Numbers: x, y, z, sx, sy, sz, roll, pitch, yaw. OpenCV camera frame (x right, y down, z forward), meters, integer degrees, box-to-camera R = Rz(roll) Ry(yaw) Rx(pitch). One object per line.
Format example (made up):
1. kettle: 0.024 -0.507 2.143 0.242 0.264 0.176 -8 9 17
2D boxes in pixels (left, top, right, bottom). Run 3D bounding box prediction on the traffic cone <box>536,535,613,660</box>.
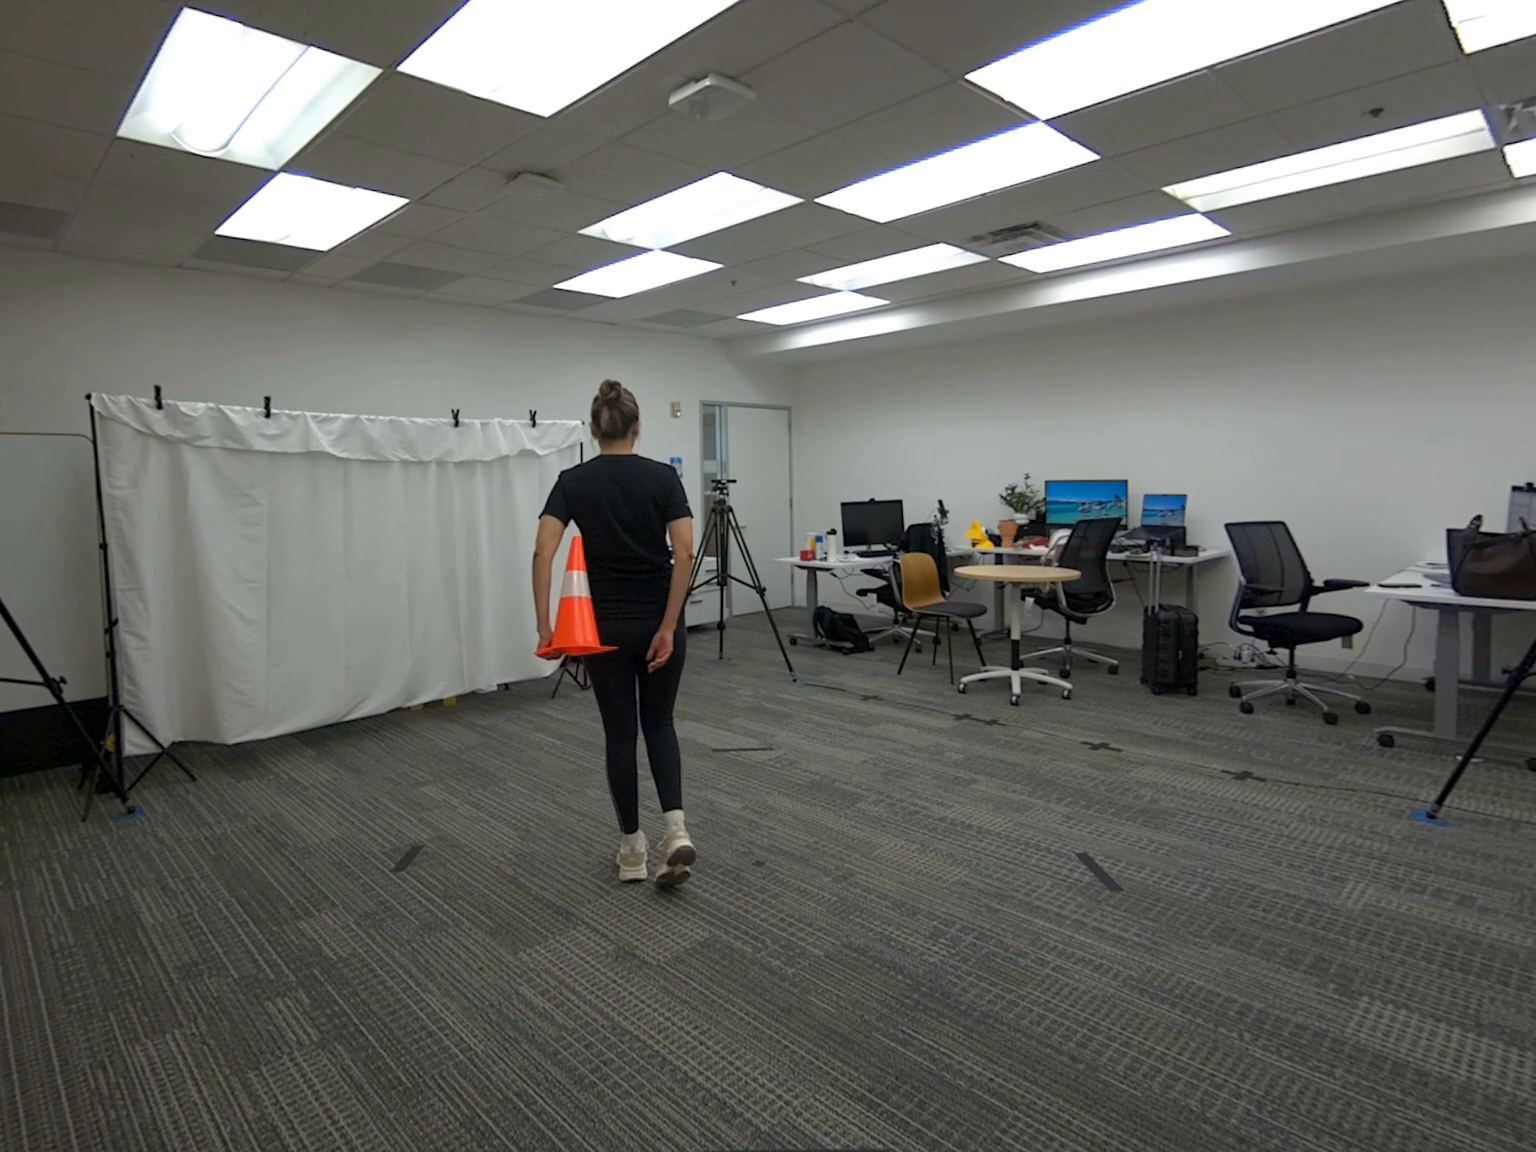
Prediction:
1. traffic cone: -0.635 0.055 2.809 0.210 0.388 0.196 -7 -14 36
